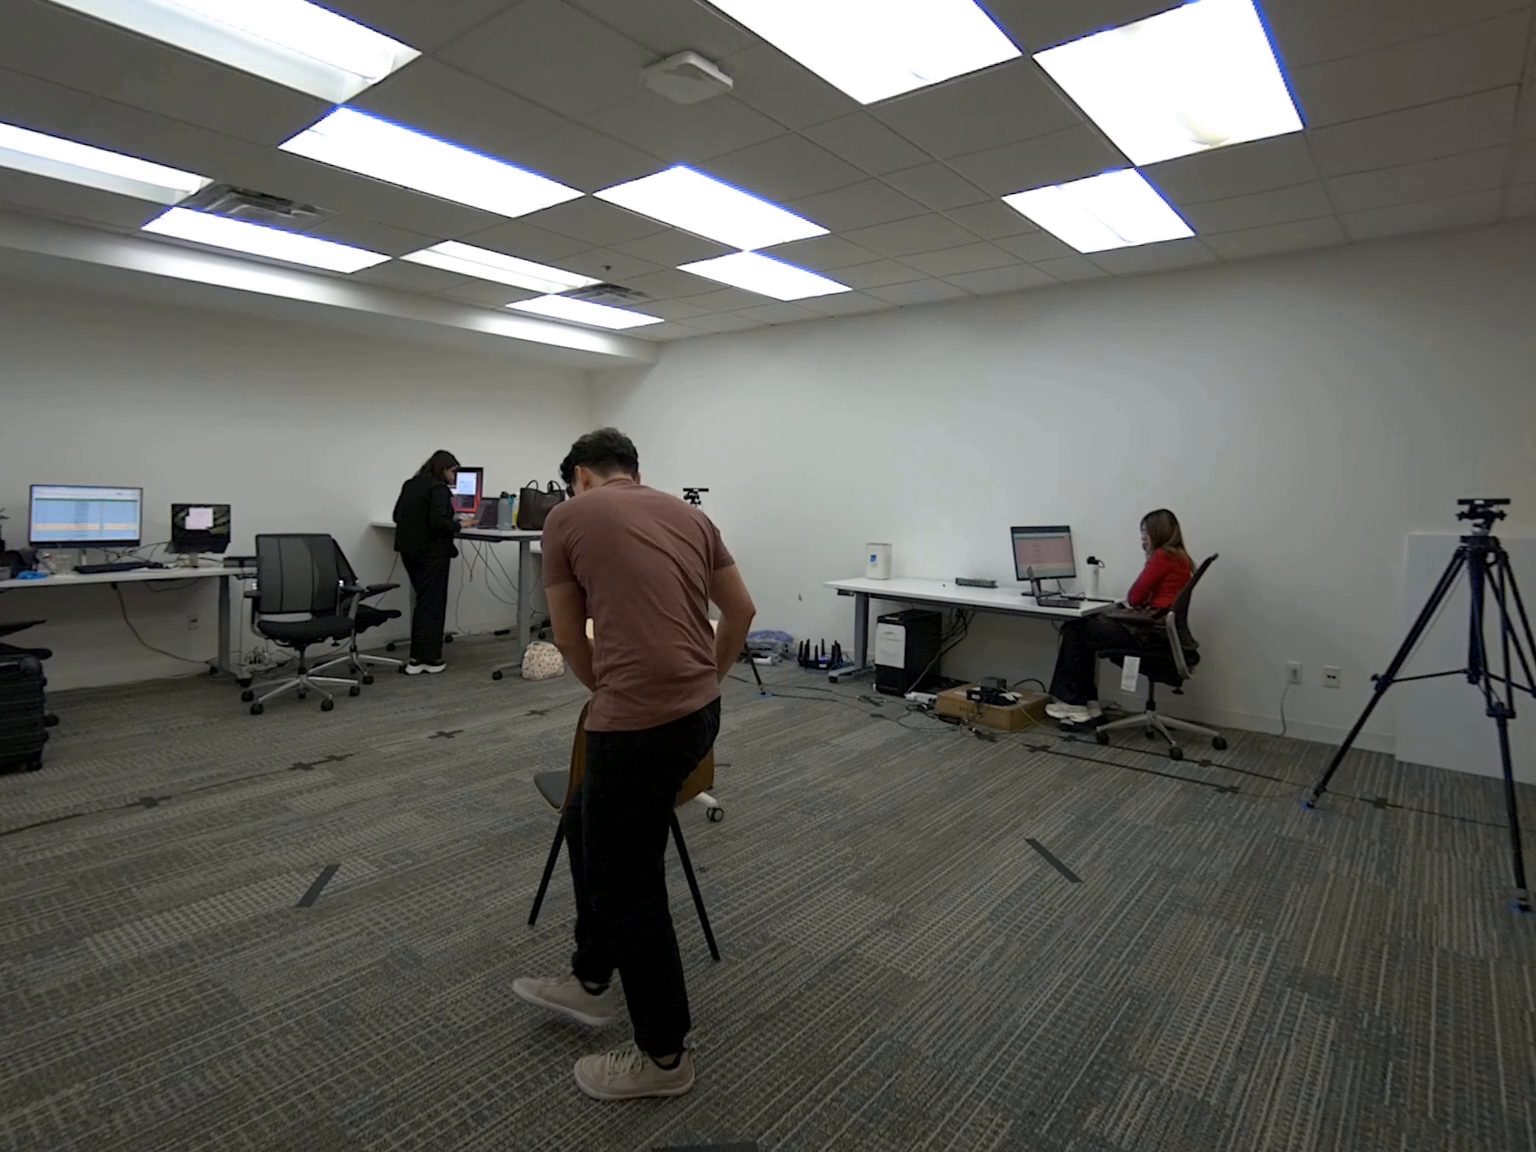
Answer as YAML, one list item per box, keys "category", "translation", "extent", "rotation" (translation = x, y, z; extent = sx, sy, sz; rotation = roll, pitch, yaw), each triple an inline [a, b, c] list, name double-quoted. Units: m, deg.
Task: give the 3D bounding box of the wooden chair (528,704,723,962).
- category: "wooden chair"
  translation: [-0.450, 0.686, 2.584]
  extent: [0.466, 0.871, 0.540]
  rotation: [-2, 9, -29]
